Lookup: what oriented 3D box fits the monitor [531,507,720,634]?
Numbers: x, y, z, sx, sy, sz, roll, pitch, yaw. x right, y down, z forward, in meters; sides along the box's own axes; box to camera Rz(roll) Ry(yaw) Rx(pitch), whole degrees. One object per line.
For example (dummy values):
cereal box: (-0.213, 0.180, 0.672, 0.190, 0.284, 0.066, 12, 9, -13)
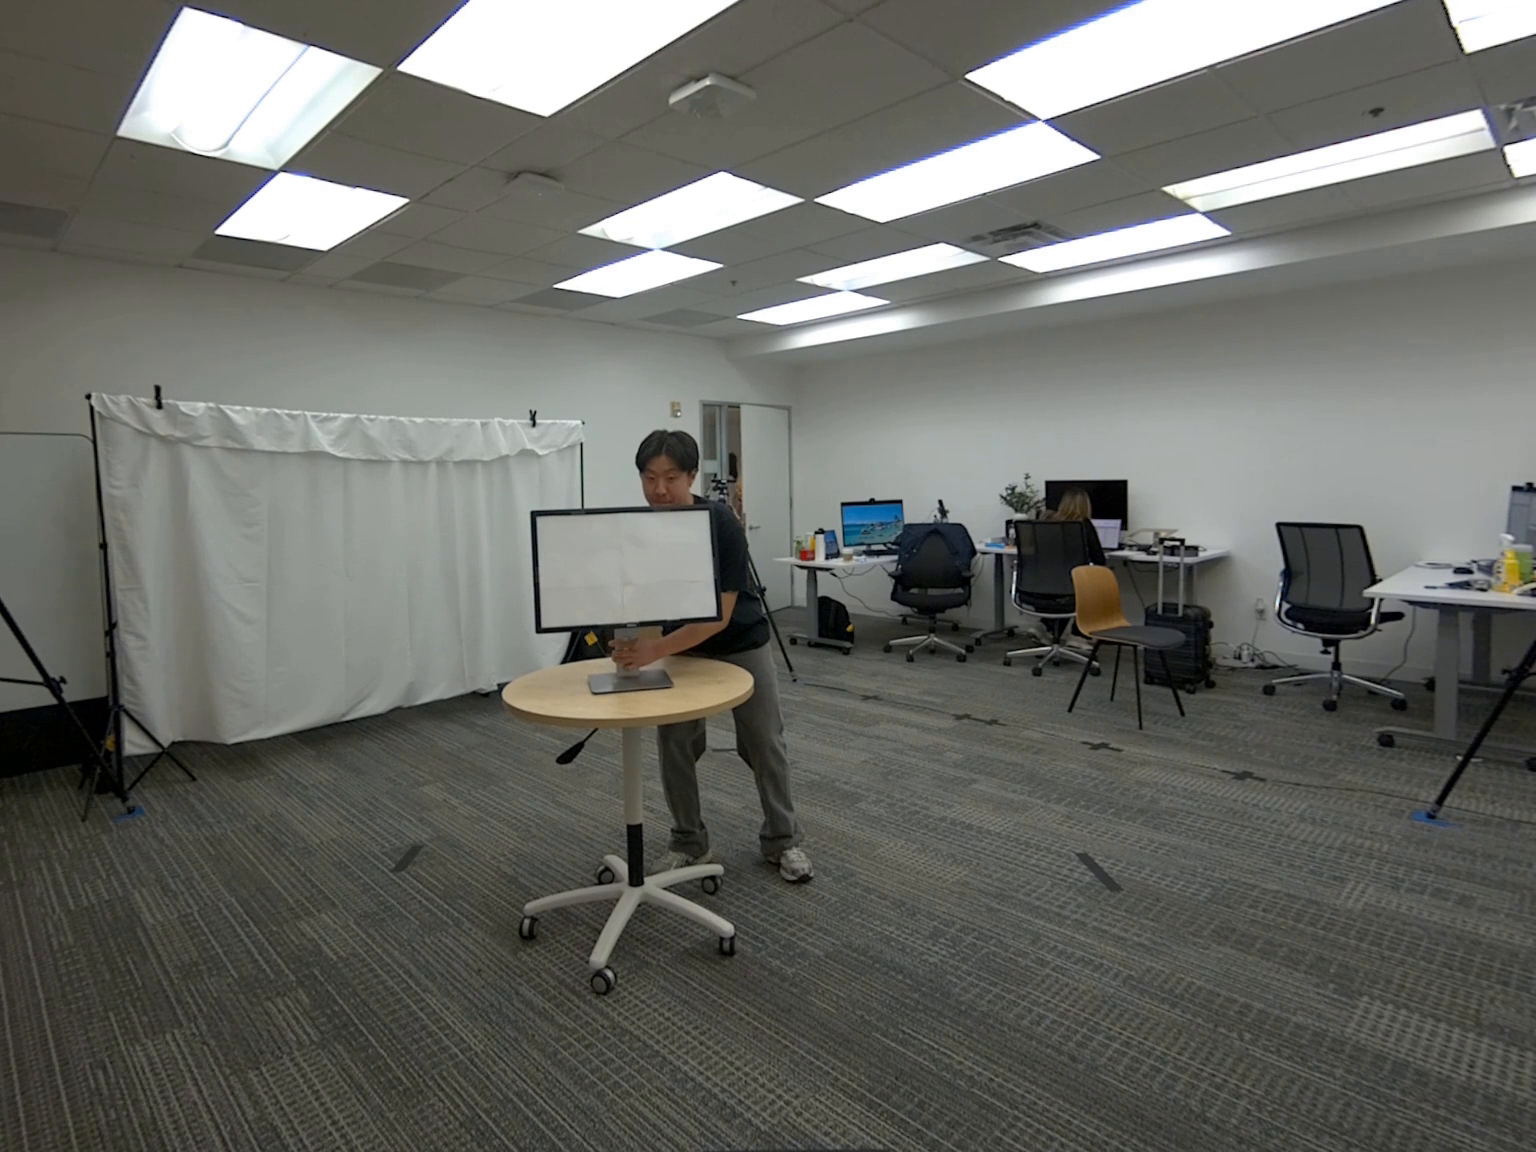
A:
monitor: (-0.435, 0.074, 2.597, 0.556, 0.562, 0.226, -2, 7, -11)
